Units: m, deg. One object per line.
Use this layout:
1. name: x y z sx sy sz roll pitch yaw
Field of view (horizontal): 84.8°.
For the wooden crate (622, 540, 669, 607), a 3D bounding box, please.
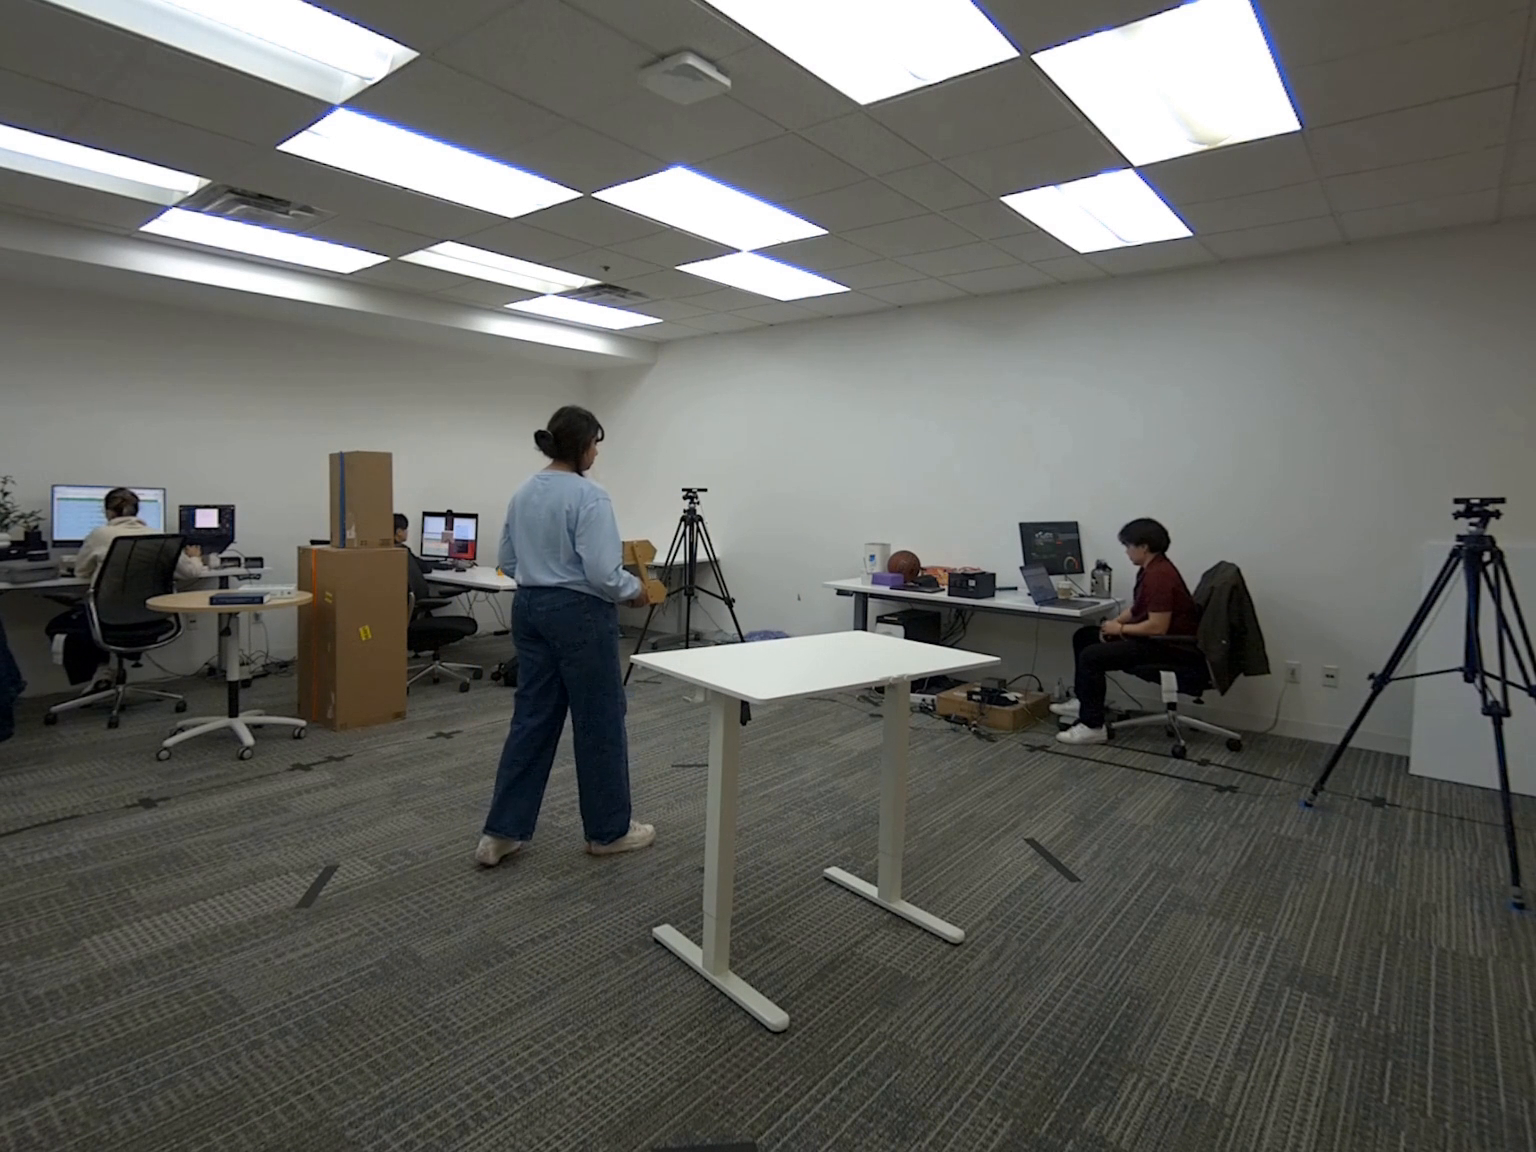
1. wooden crate: -0.623 -0.039 3.453 0.335 0.272 0.294 7 7 32
